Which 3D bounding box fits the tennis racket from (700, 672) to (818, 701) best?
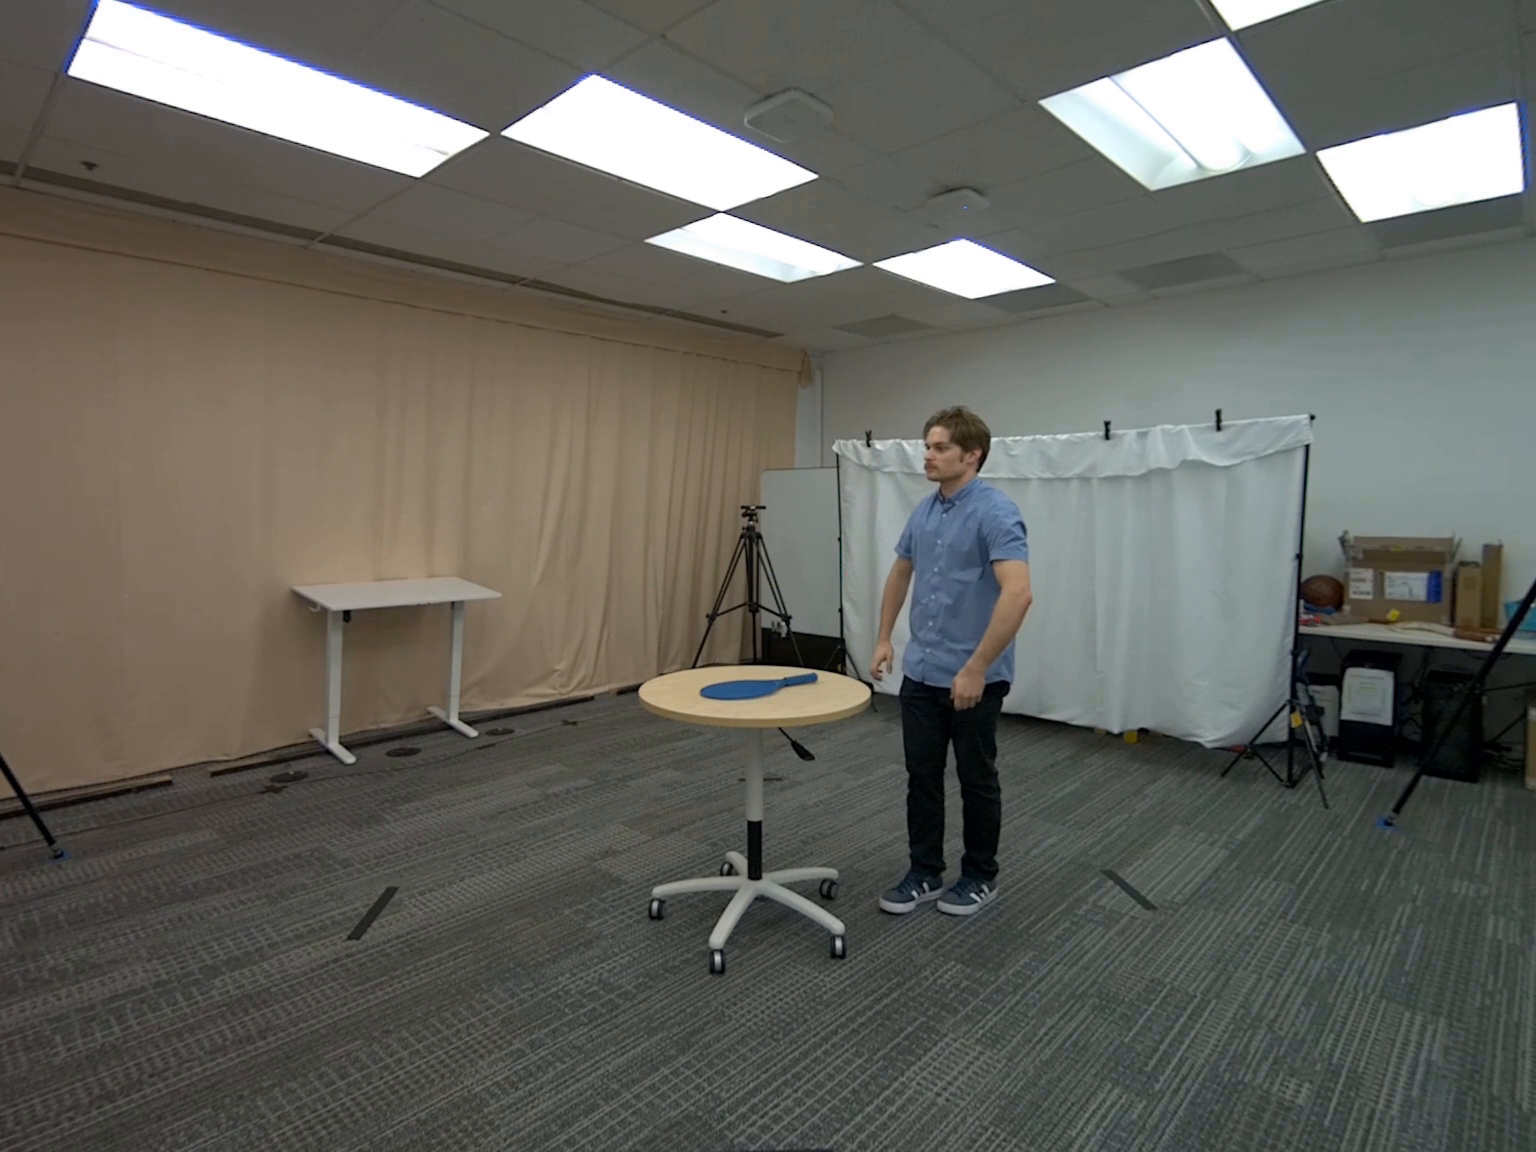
[{"bbox_3d":[-0.019,0.374,2.774,0.423,0.031,0.219,-5,6,-25],"label":"tennis racket"}]
